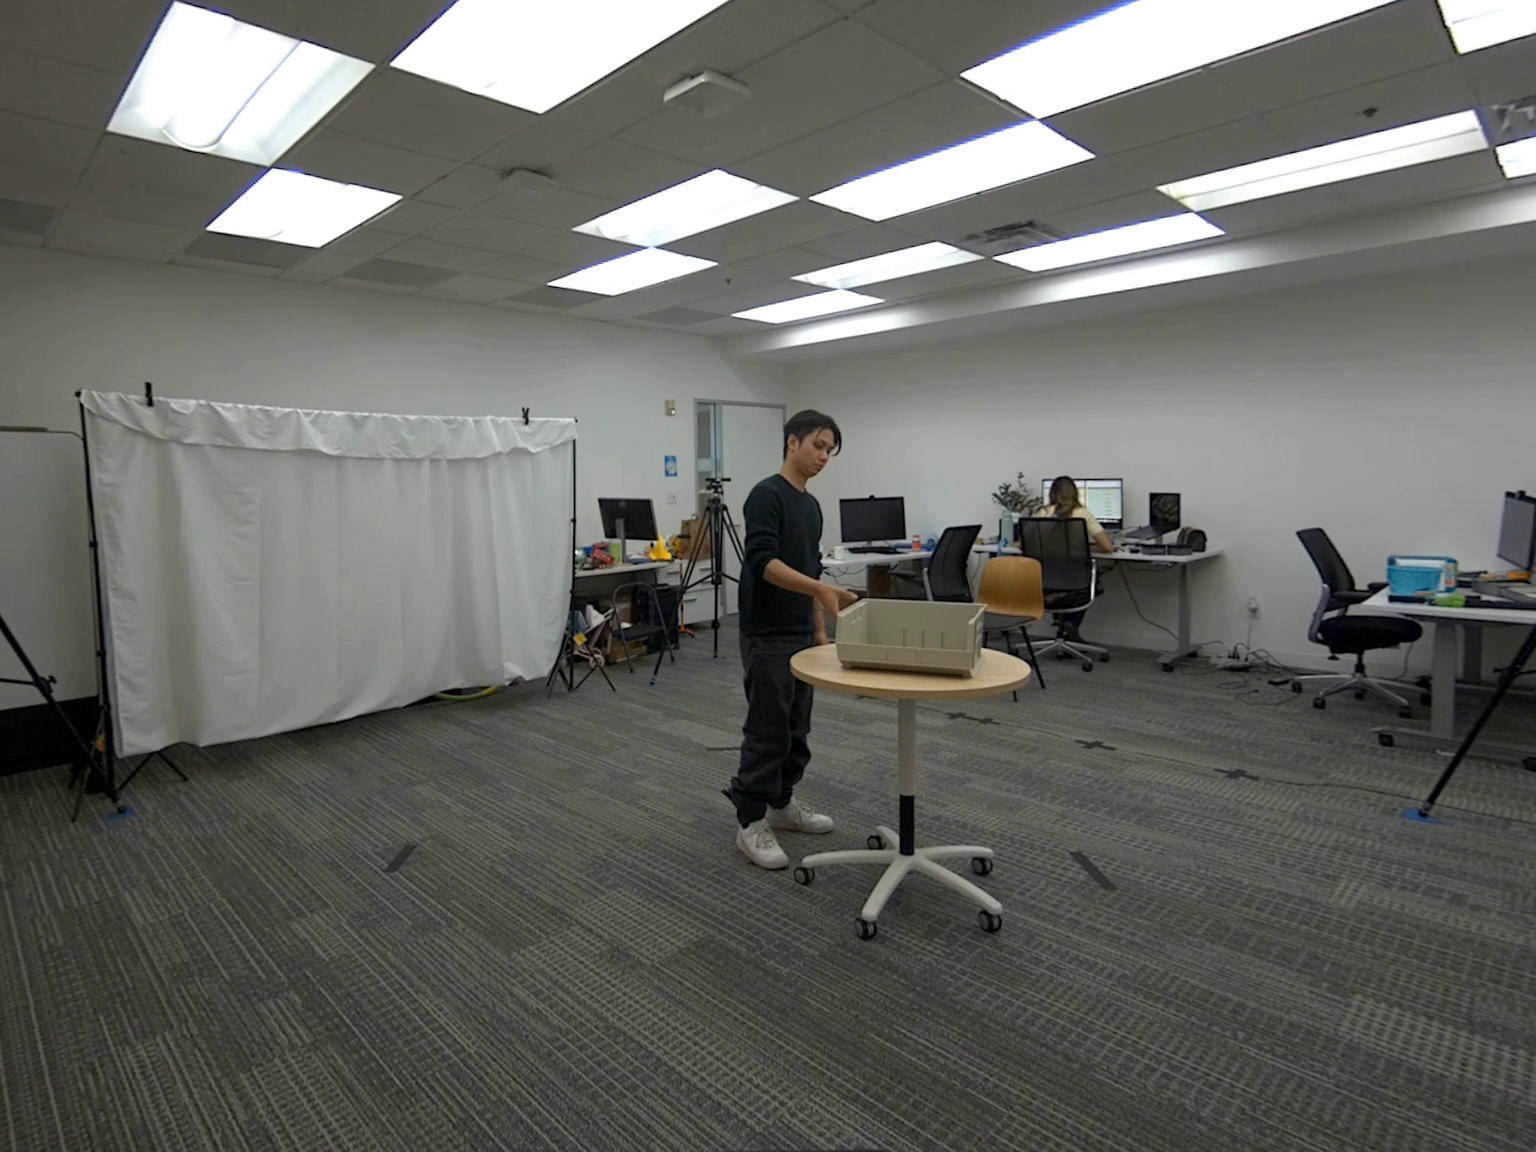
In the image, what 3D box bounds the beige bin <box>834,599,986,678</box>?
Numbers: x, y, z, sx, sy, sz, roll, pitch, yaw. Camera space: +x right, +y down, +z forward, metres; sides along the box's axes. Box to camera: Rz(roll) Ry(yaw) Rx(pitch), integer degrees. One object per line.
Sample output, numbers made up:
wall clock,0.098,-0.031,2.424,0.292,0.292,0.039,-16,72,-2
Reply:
beige bin,0.483,0.207,2.765,0.430,0.188,0.372,1,6,19
